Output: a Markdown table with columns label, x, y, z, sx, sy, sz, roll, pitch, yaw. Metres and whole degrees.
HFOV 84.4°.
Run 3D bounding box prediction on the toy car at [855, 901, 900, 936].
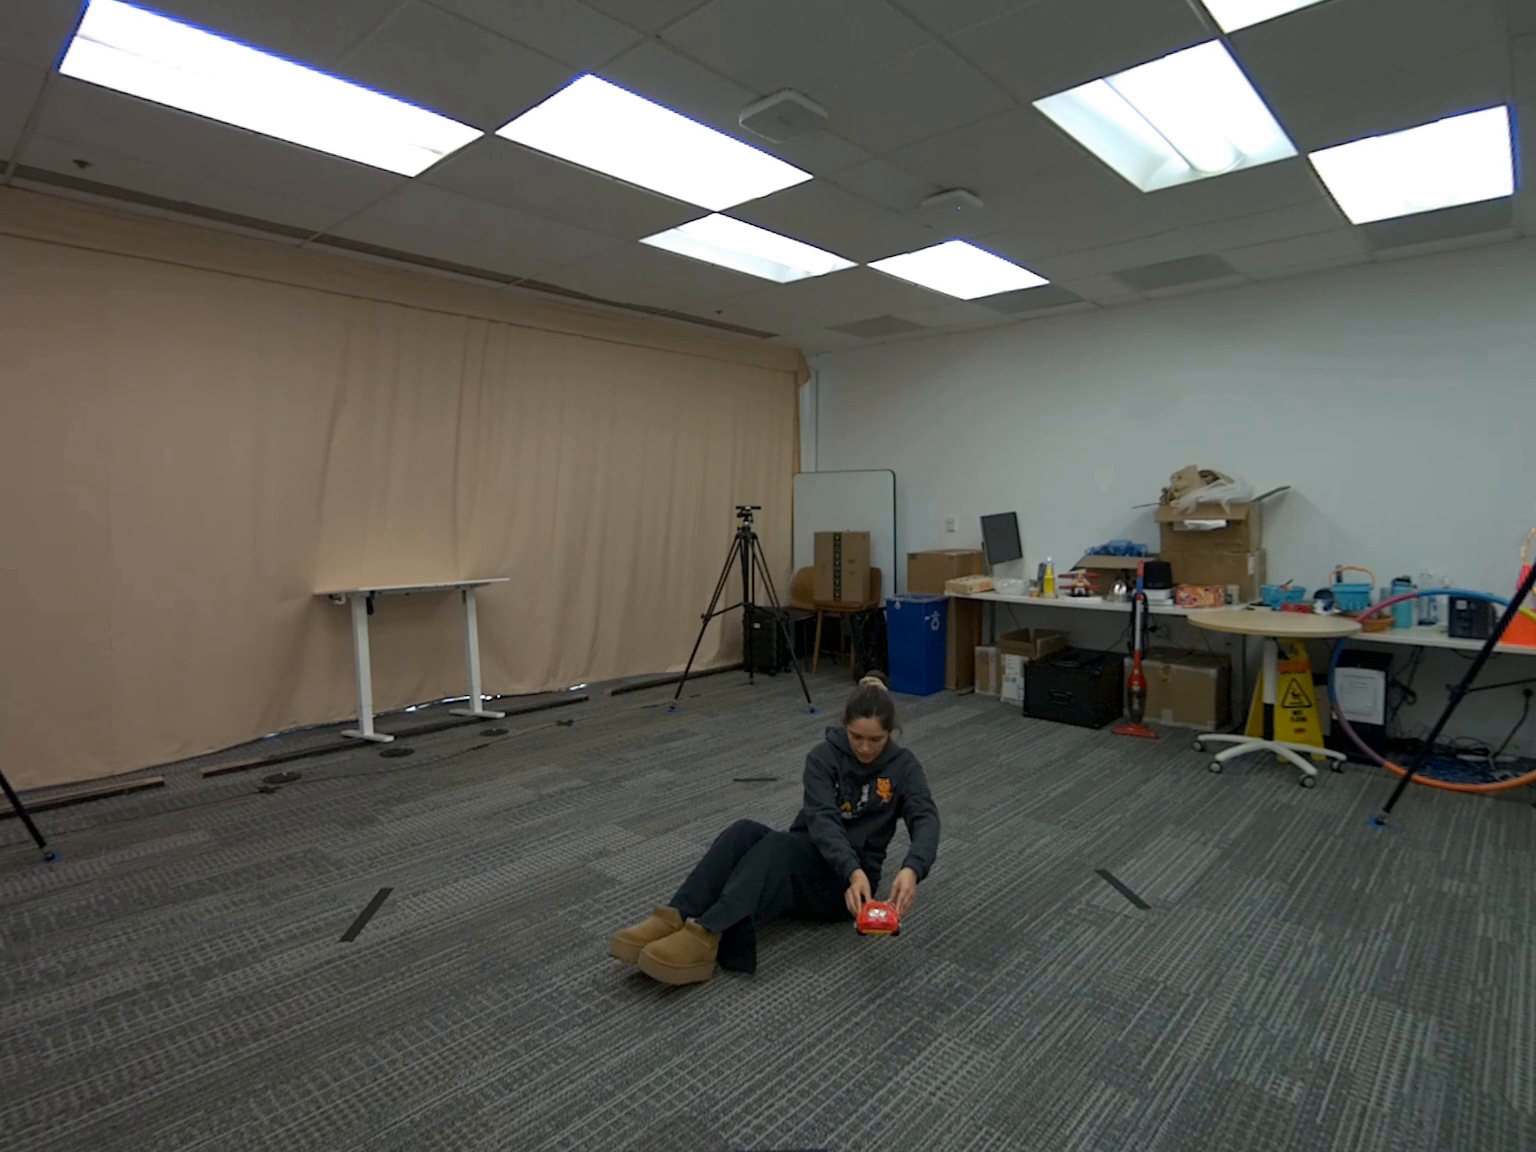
| label | x | y | z | sx | sy | sz | roll | pitch | yaw |
| --- | --- | --- | --- | --- | --- | --- | --- | --- | --- |
| toy car | 0.322 | 0.946 | 2.359 | 0.132 | 0.084 | 0.248 | -3 | -18 | 12 |
